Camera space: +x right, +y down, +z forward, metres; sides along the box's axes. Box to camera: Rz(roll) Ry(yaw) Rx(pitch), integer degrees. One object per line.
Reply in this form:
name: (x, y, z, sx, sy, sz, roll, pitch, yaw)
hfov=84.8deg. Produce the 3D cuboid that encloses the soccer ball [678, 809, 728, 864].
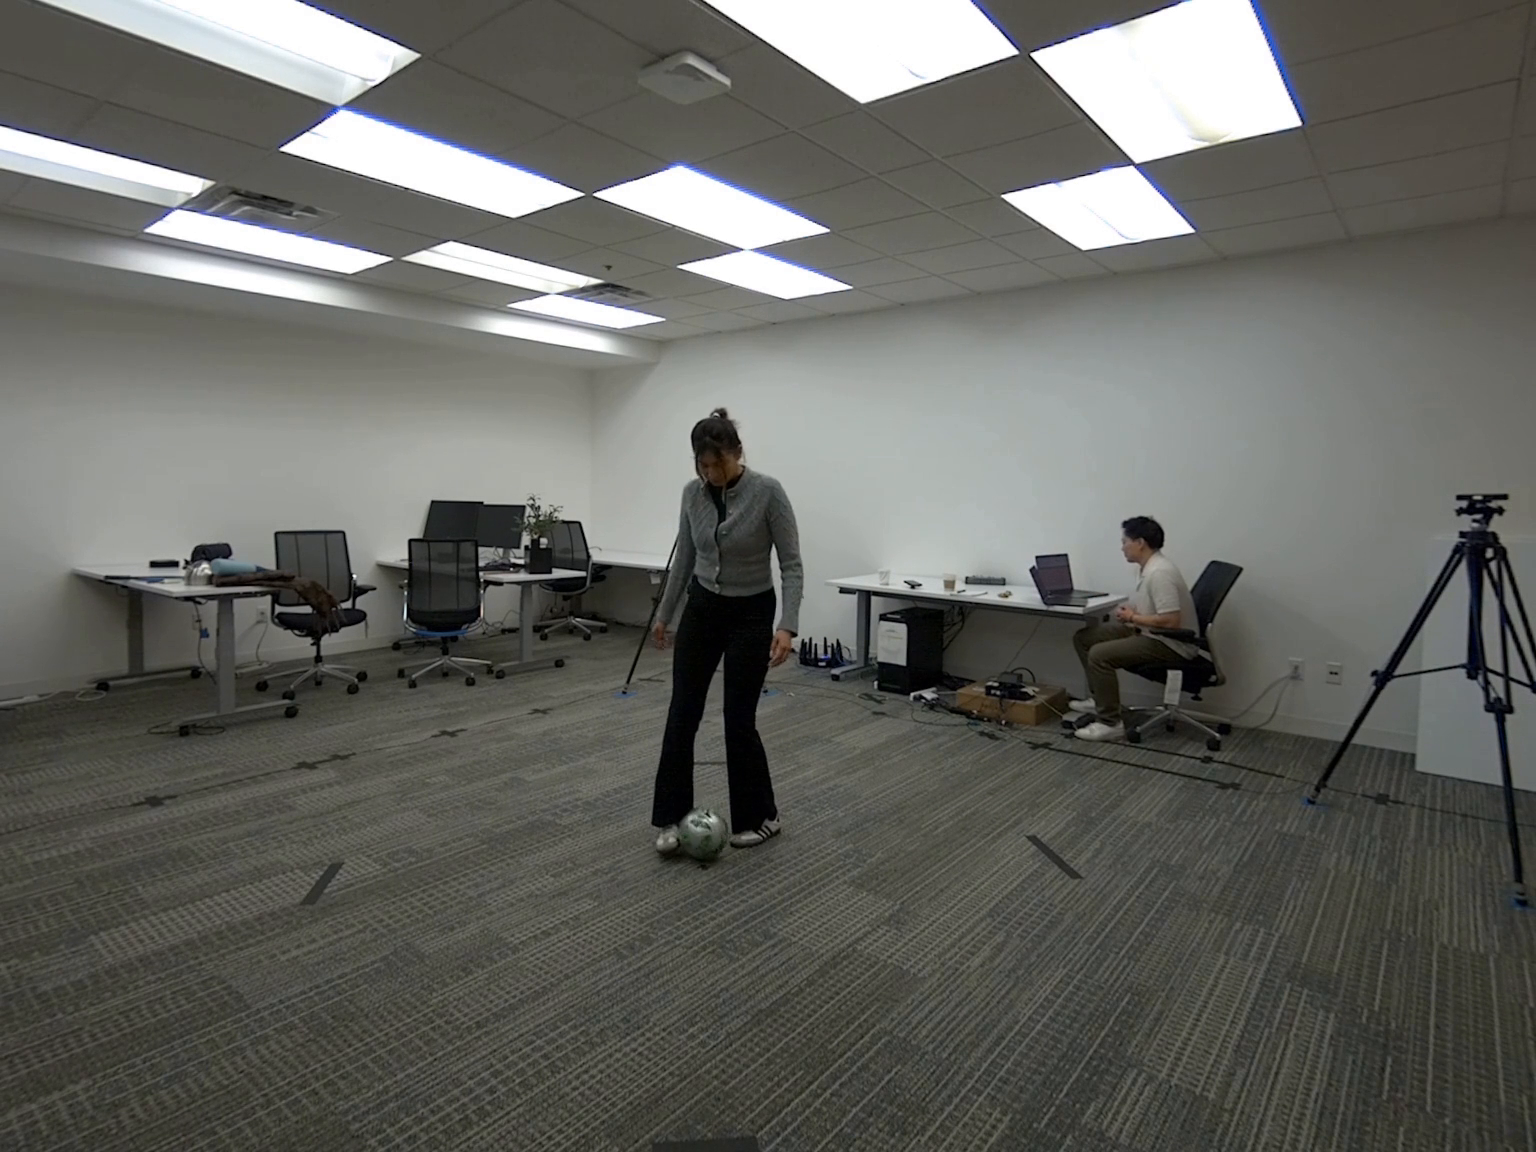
soccer ball: (-0.255, 0.968, 3.189, 0.187, 0.187, 0.188, 1, 4, -2)
